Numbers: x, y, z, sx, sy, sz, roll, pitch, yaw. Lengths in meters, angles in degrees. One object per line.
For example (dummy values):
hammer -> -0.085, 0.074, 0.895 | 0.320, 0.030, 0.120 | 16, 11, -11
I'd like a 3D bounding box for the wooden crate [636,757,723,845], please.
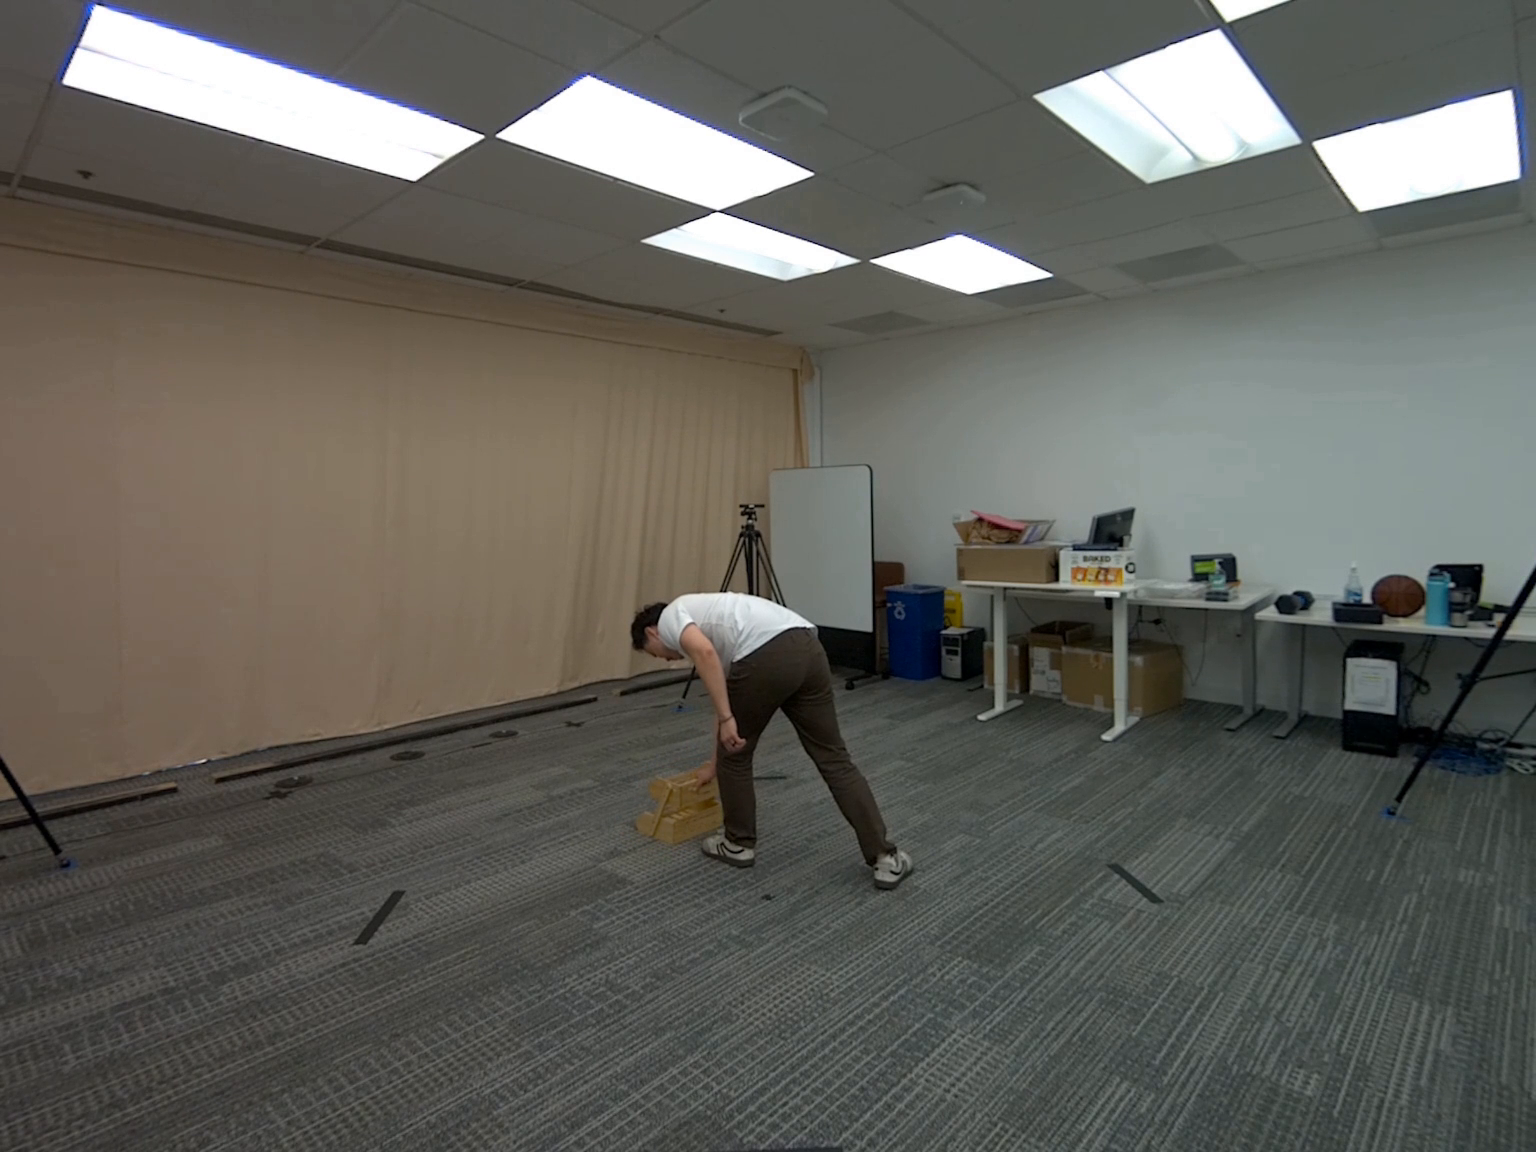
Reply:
wooden crate -> -0.365, 0.959, 3.635 | 0.312, 0.273, 0.314 | 3, 6, 44
